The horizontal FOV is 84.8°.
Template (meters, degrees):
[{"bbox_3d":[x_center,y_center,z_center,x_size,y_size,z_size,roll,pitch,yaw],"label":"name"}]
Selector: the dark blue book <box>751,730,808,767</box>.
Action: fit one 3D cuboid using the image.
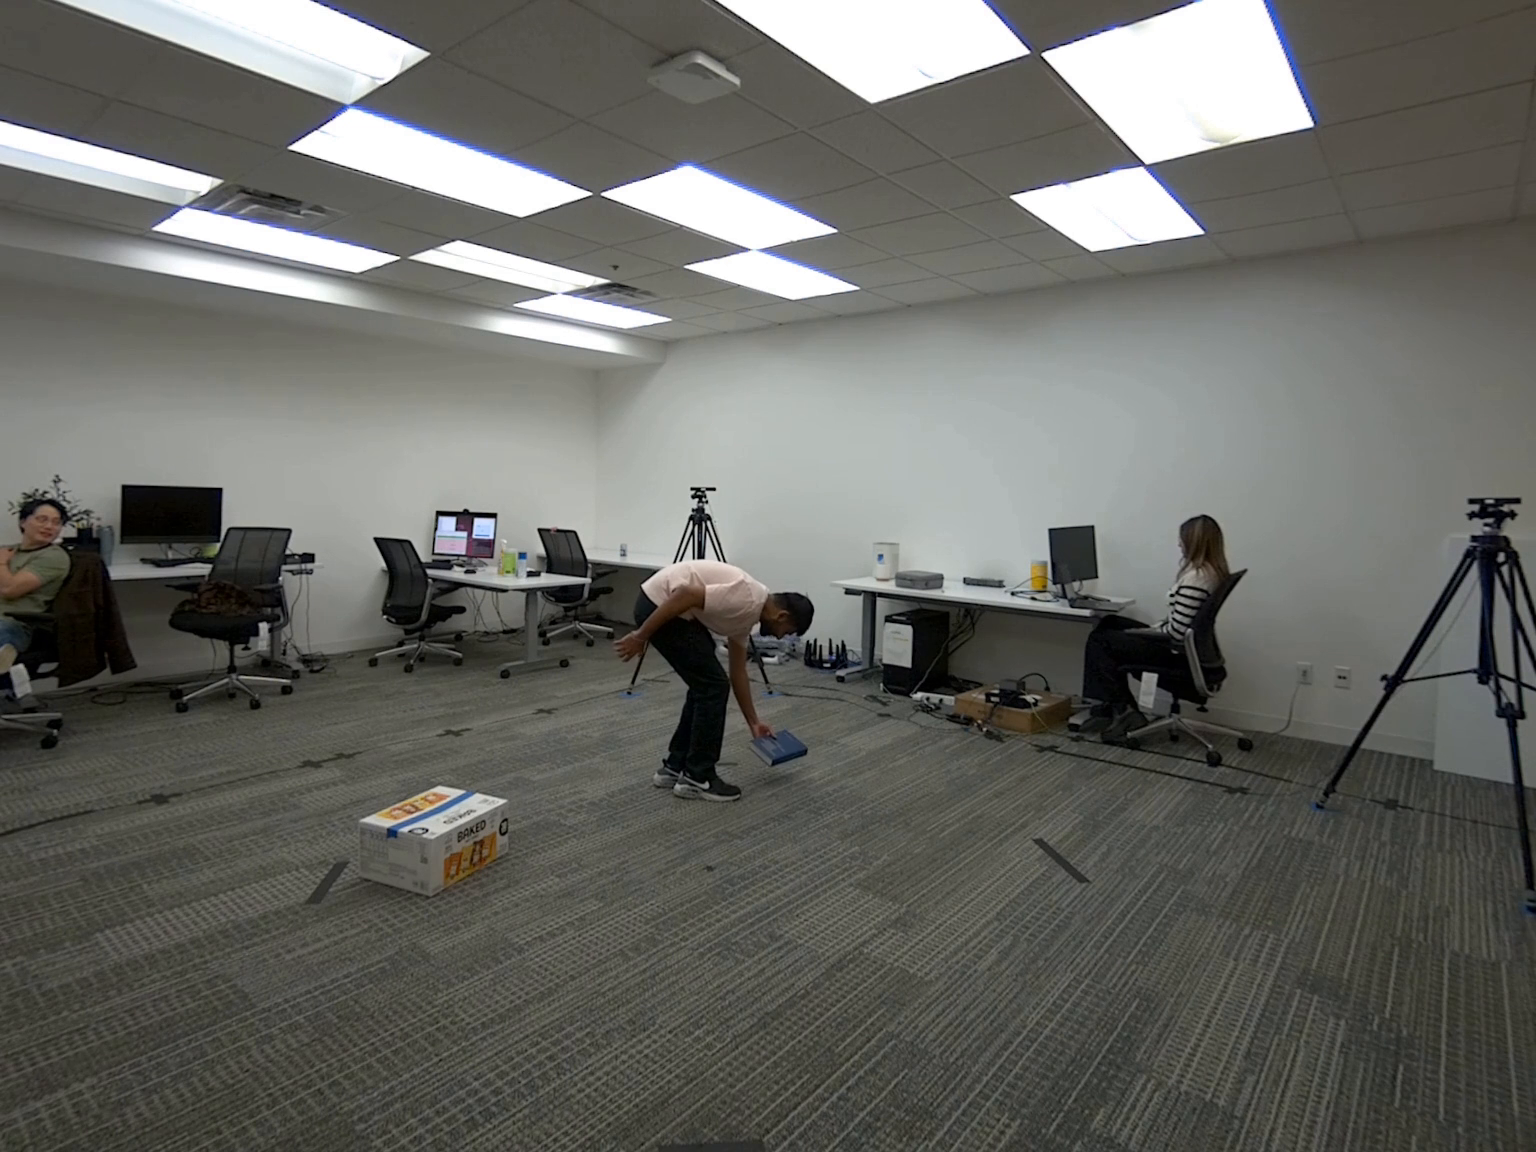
[{"bbox_3d":[0.040,0.815,4.070,0.238,0.044,0.170,-7,28,-42],"label":"dark blue book"}]
